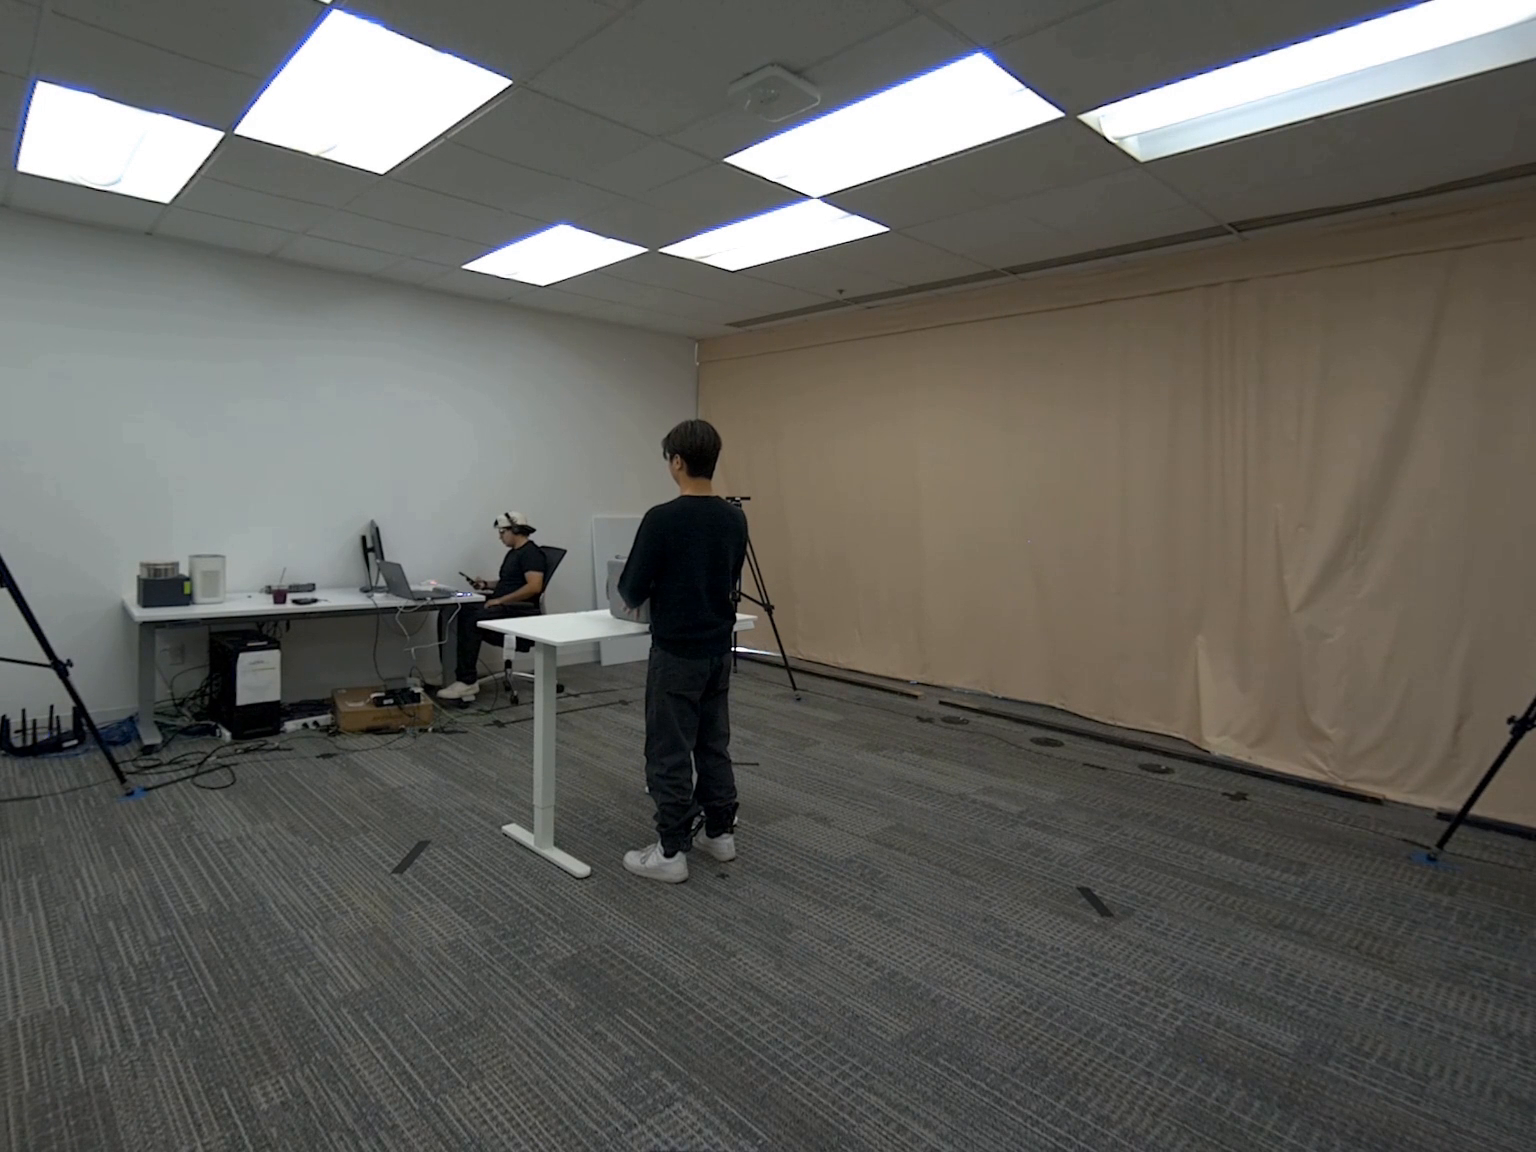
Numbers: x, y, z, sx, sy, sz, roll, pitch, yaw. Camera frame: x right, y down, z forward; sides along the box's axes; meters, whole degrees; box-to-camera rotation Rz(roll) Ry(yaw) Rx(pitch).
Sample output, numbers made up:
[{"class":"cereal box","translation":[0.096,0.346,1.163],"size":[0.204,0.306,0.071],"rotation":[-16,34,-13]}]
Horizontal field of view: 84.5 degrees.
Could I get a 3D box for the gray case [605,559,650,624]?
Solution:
[{"class":"gray case","translation":[-0.563,0.054,3.469],"size":[0.267,0.255,0.102],"rotation":[5,12,40]}]
